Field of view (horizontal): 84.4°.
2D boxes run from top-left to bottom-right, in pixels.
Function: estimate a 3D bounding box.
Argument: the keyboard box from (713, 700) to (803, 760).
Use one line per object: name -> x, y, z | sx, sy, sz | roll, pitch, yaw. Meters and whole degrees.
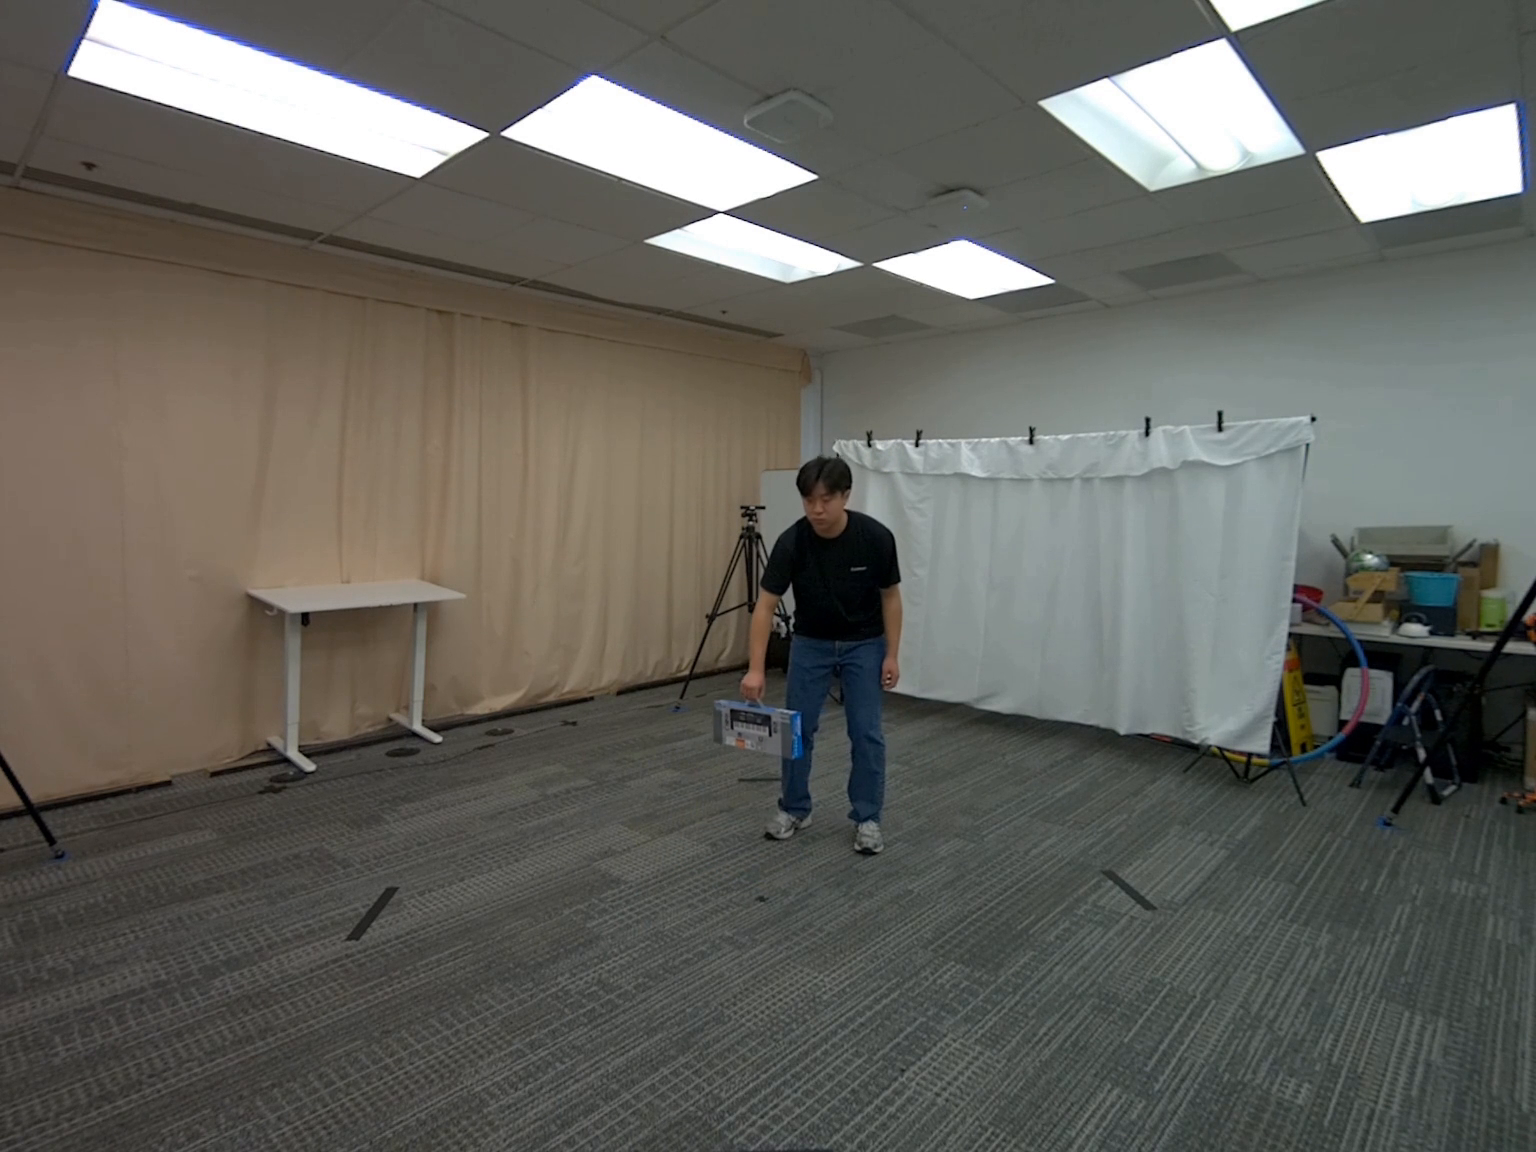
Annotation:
keyboard box -> -0.045, 0.609, 3.352 | 0.451, 0.176, 0.057 | 0, 1, 45
